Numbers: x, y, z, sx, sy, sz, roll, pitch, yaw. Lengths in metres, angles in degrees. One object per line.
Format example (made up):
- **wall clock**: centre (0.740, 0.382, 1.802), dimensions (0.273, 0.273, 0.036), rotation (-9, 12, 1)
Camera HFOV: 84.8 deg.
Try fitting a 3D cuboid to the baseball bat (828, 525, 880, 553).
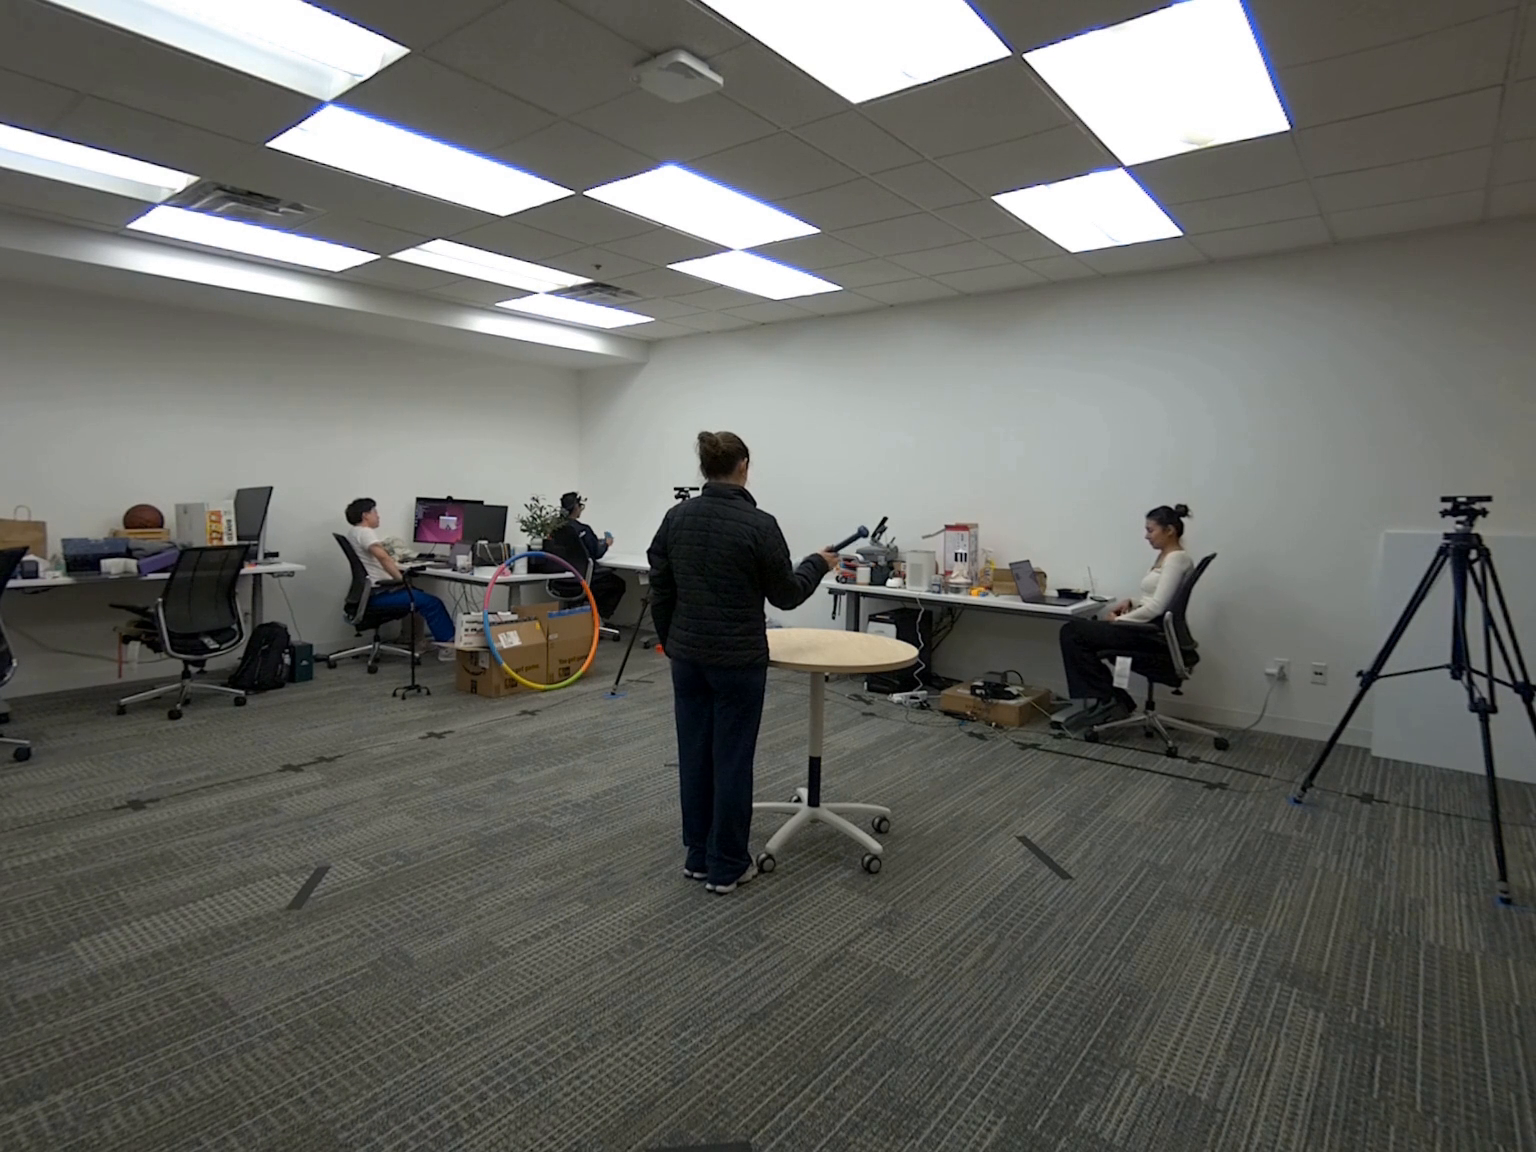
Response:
- **baseball bat**: centre (0.201, -0.055, 3.272), dimensions (0.086, 0.091, 0.548), rotation (-3, -22, -48)
